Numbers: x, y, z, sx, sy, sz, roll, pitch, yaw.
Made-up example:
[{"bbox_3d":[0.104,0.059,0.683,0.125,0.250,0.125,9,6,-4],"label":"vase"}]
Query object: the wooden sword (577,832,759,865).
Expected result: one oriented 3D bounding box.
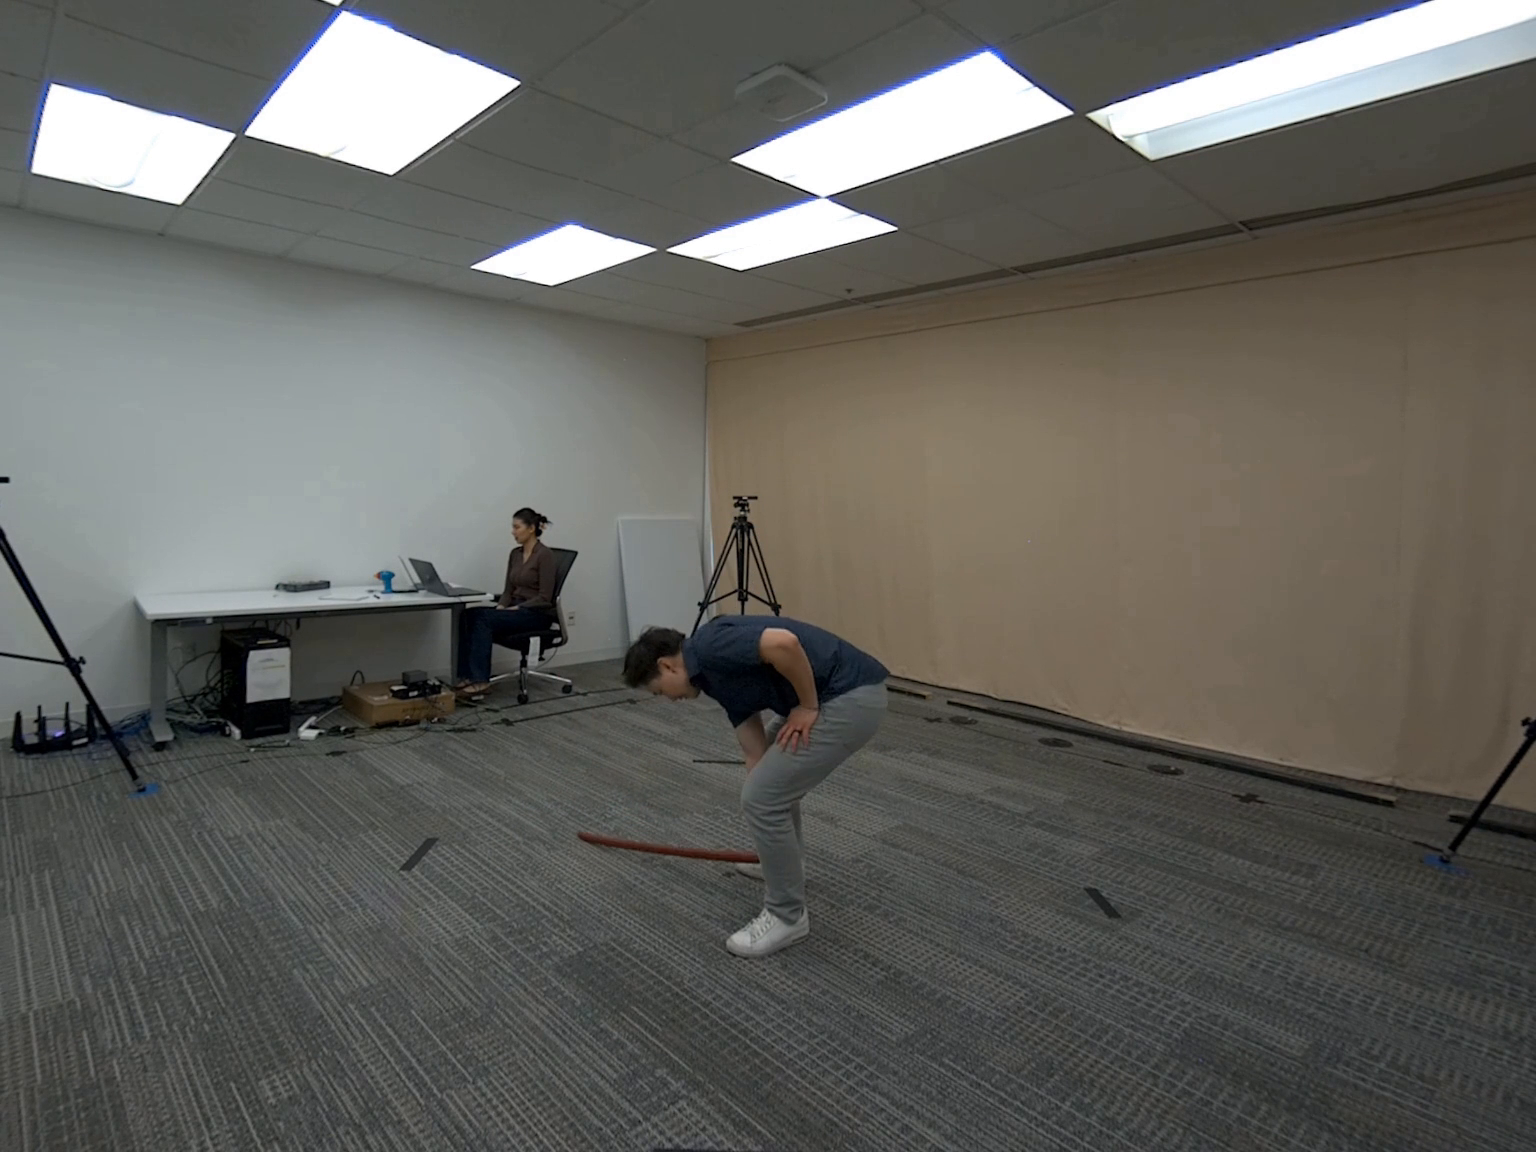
[{"bbox_3d":[-0.338,1.016,3.108,1.045,0.023,0.051,-4,31,33],"label":"wooden sword"}]
